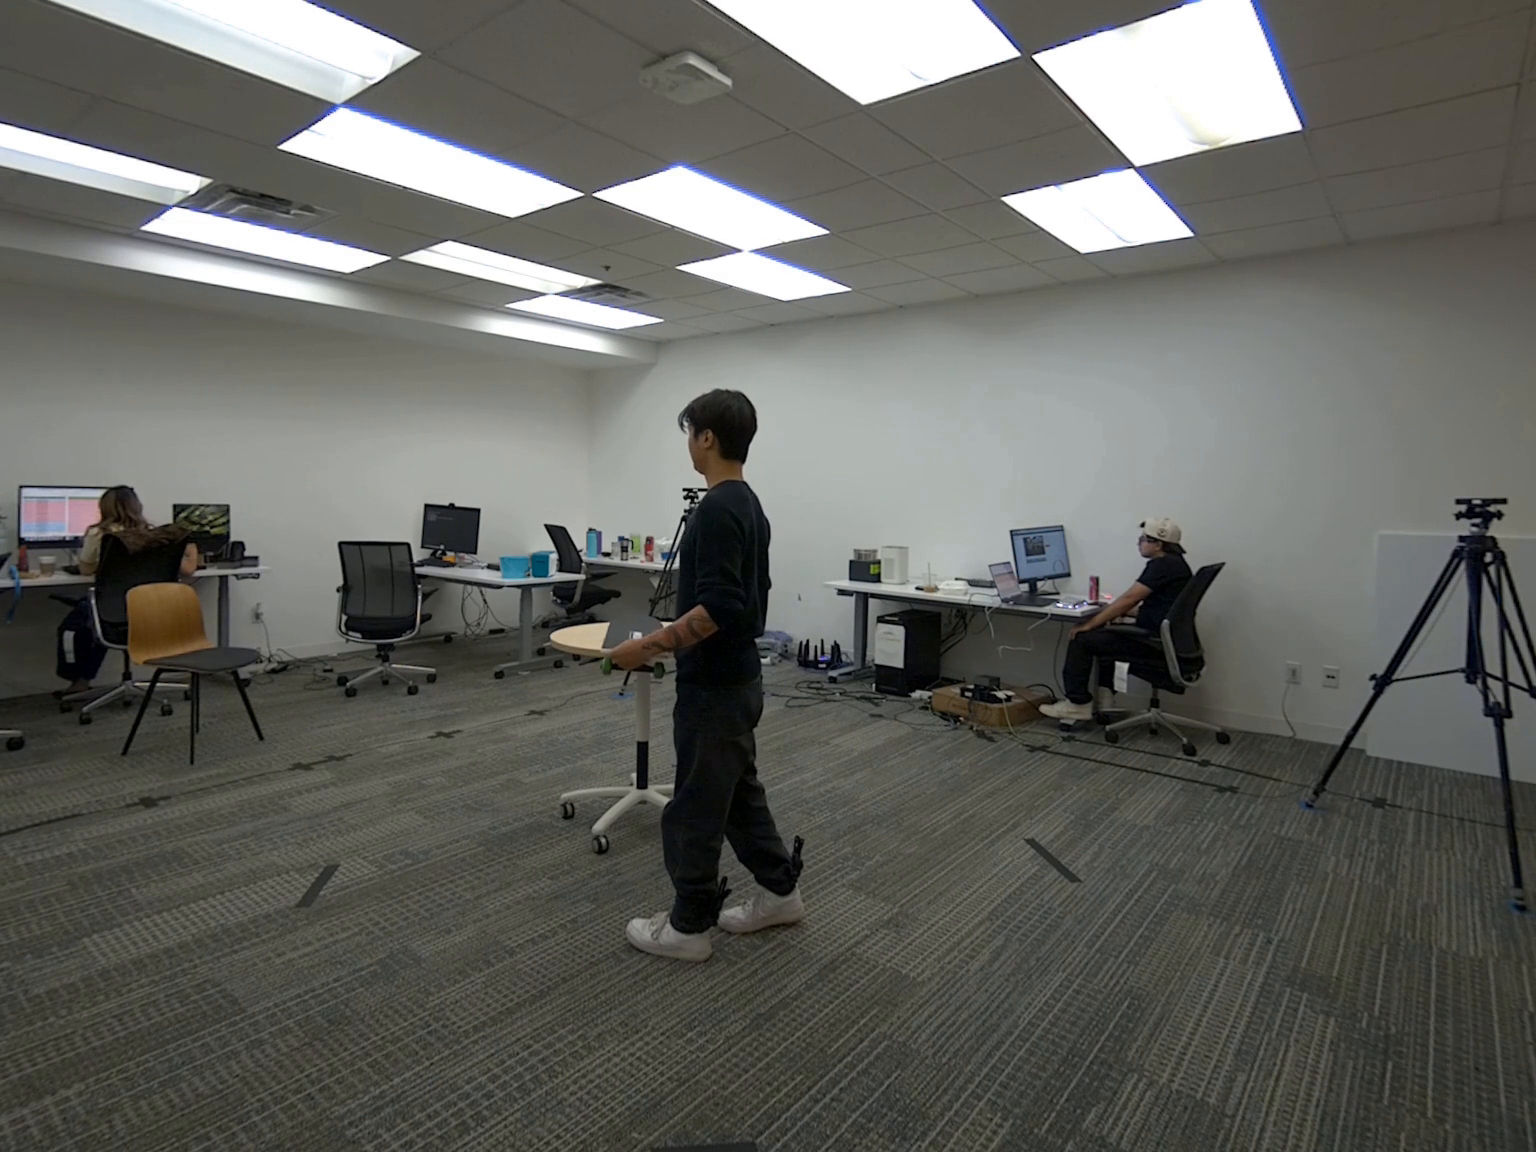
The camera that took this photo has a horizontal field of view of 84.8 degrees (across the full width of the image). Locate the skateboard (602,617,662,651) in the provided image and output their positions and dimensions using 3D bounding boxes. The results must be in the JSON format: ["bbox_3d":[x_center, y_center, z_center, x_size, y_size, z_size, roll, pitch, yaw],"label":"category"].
[{"bbox_3d":[-0.438,0.228,2.715,0.191,0.110,0.794,5,3,-11],"label":"skateboard"}]
